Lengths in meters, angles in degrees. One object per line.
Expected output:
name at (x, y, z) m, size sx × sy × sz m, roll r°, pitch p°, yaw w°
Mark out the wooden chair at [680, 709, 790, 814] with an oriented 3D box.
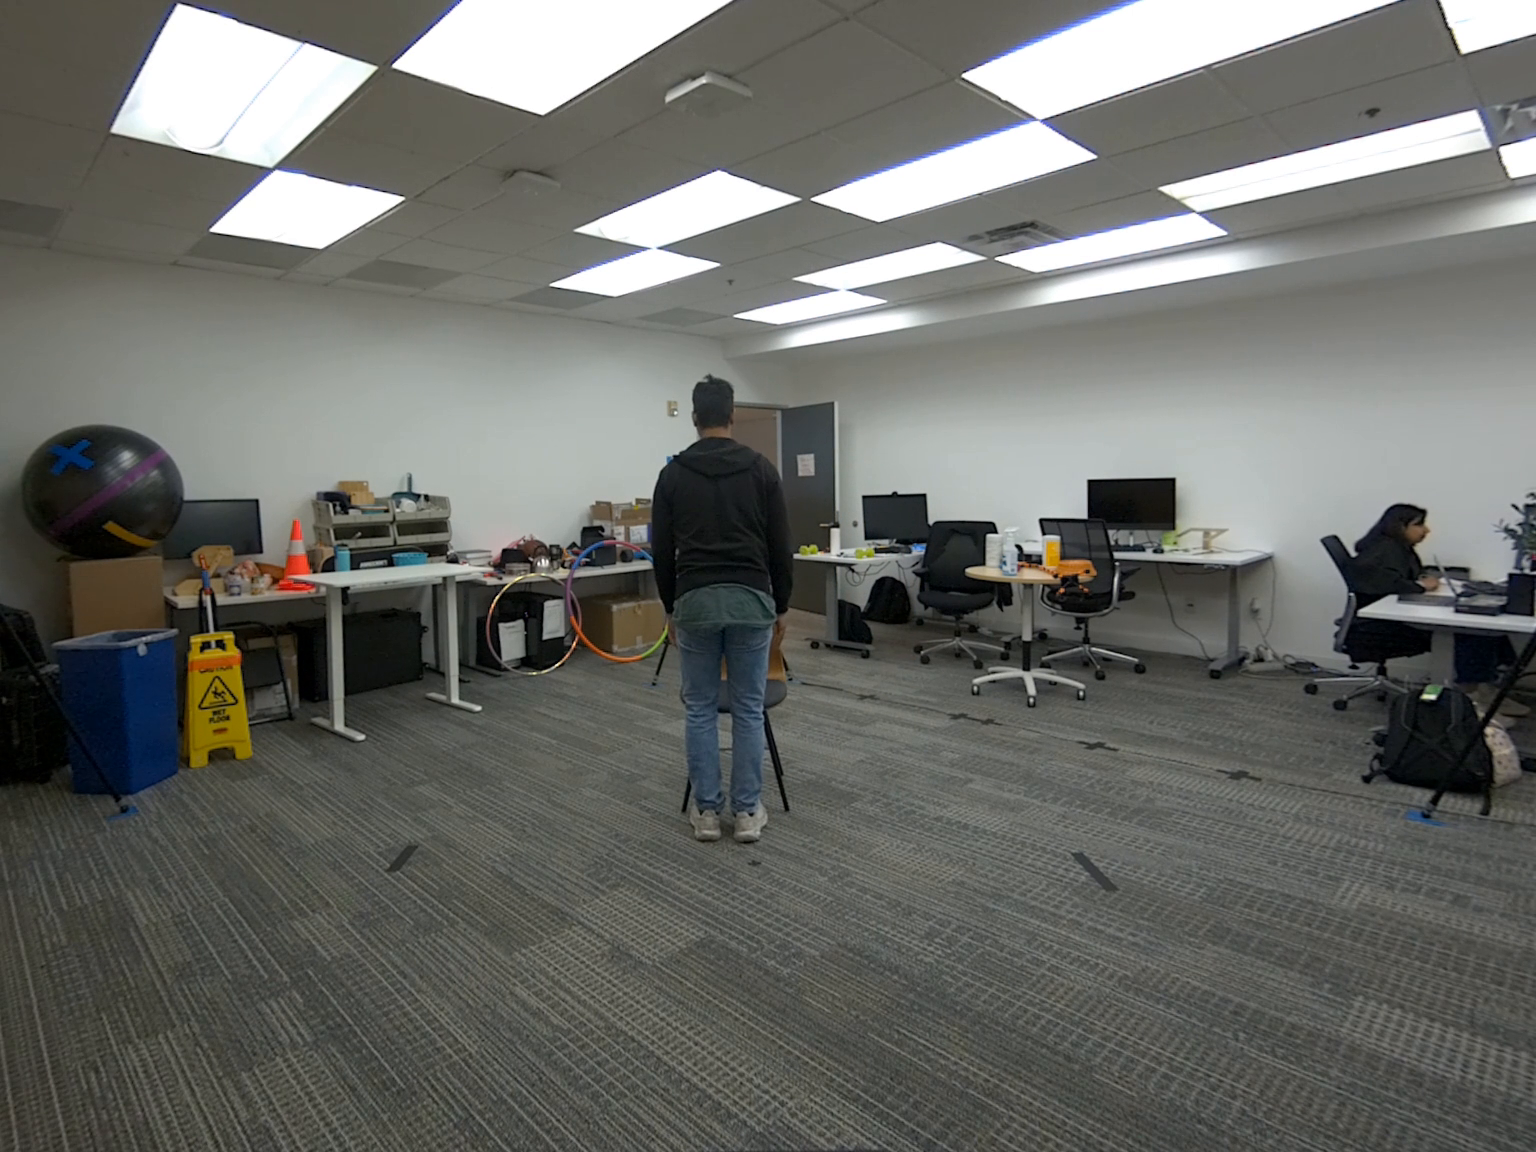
wooden chair at (-0.143, 0.544, 3.775) m, size 0.478 × 0.878 × 0.523 m, roll 0°, pitch 0°, yaw -1°
